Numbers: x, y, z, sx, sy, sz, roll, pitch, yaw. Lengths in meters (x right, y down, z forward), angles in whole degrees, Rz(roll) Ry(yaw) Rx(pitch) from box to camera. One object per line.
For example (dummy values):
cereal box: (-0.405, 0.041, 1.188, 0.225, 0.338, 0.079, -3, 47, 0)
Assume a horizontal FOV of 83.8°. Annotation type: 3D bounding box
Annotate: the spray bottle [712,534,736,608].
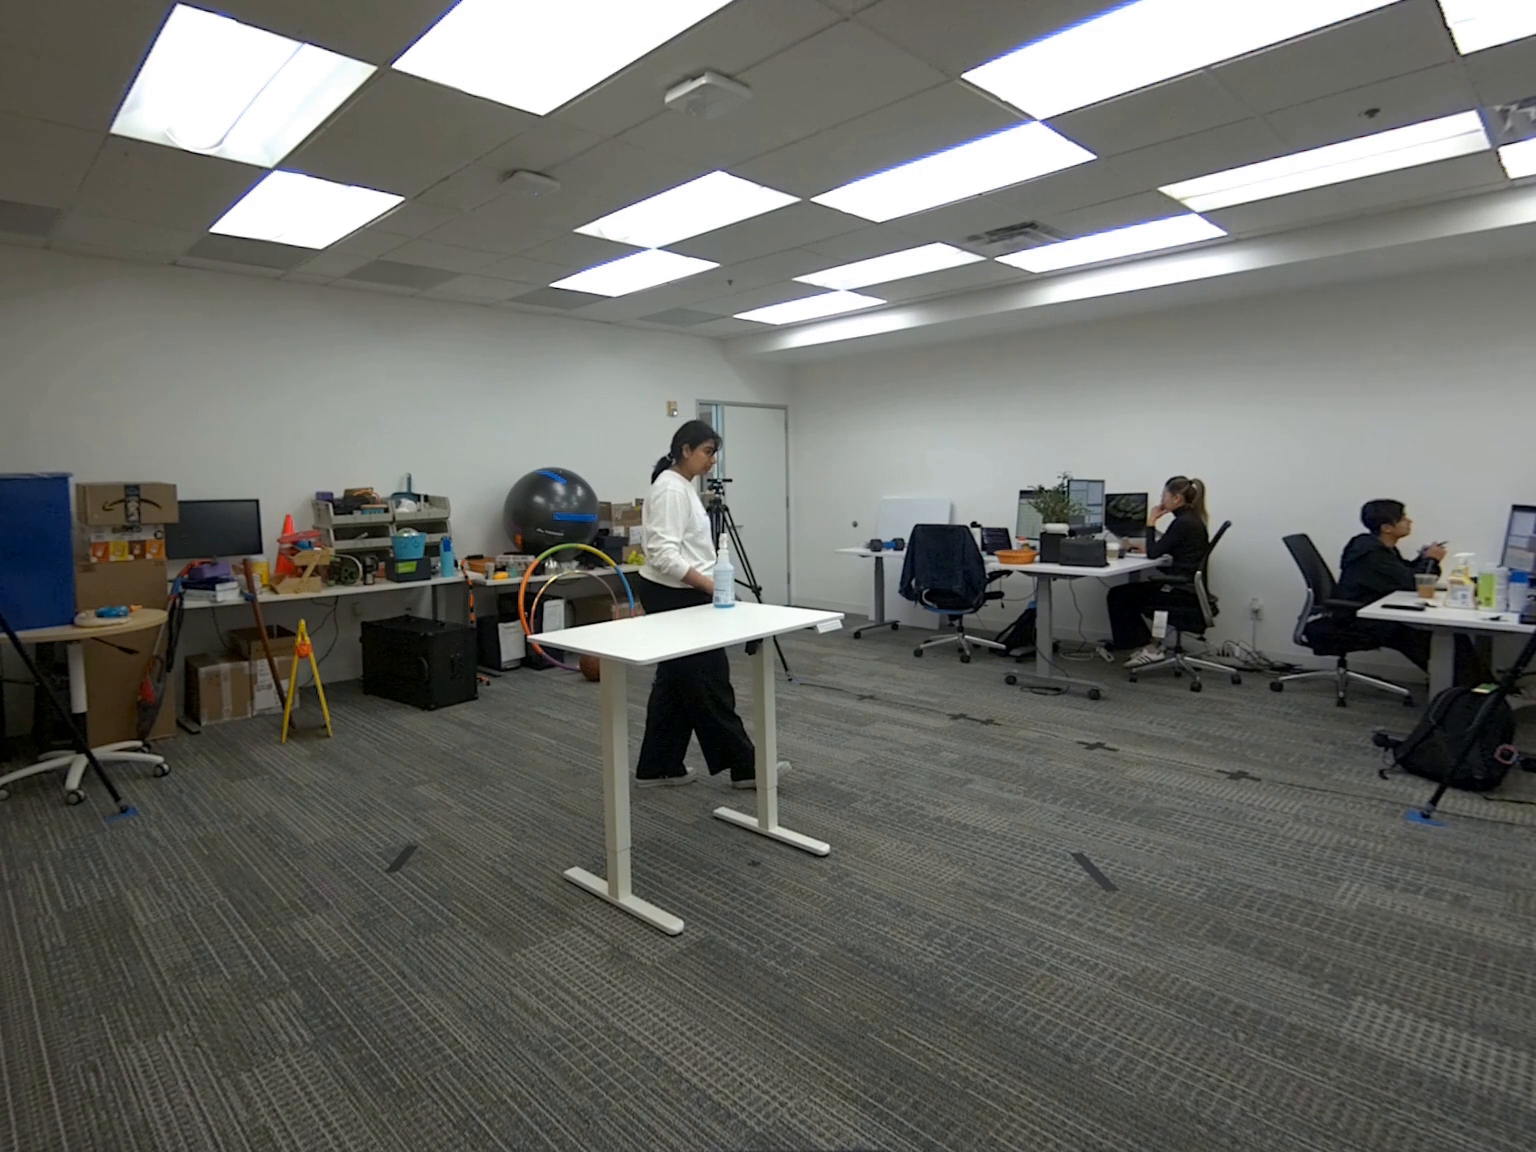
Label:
spray bottle: (-0.182, -0.022, 3.439, 0.088, 0.296, 0.089, 0, 4, 13)
